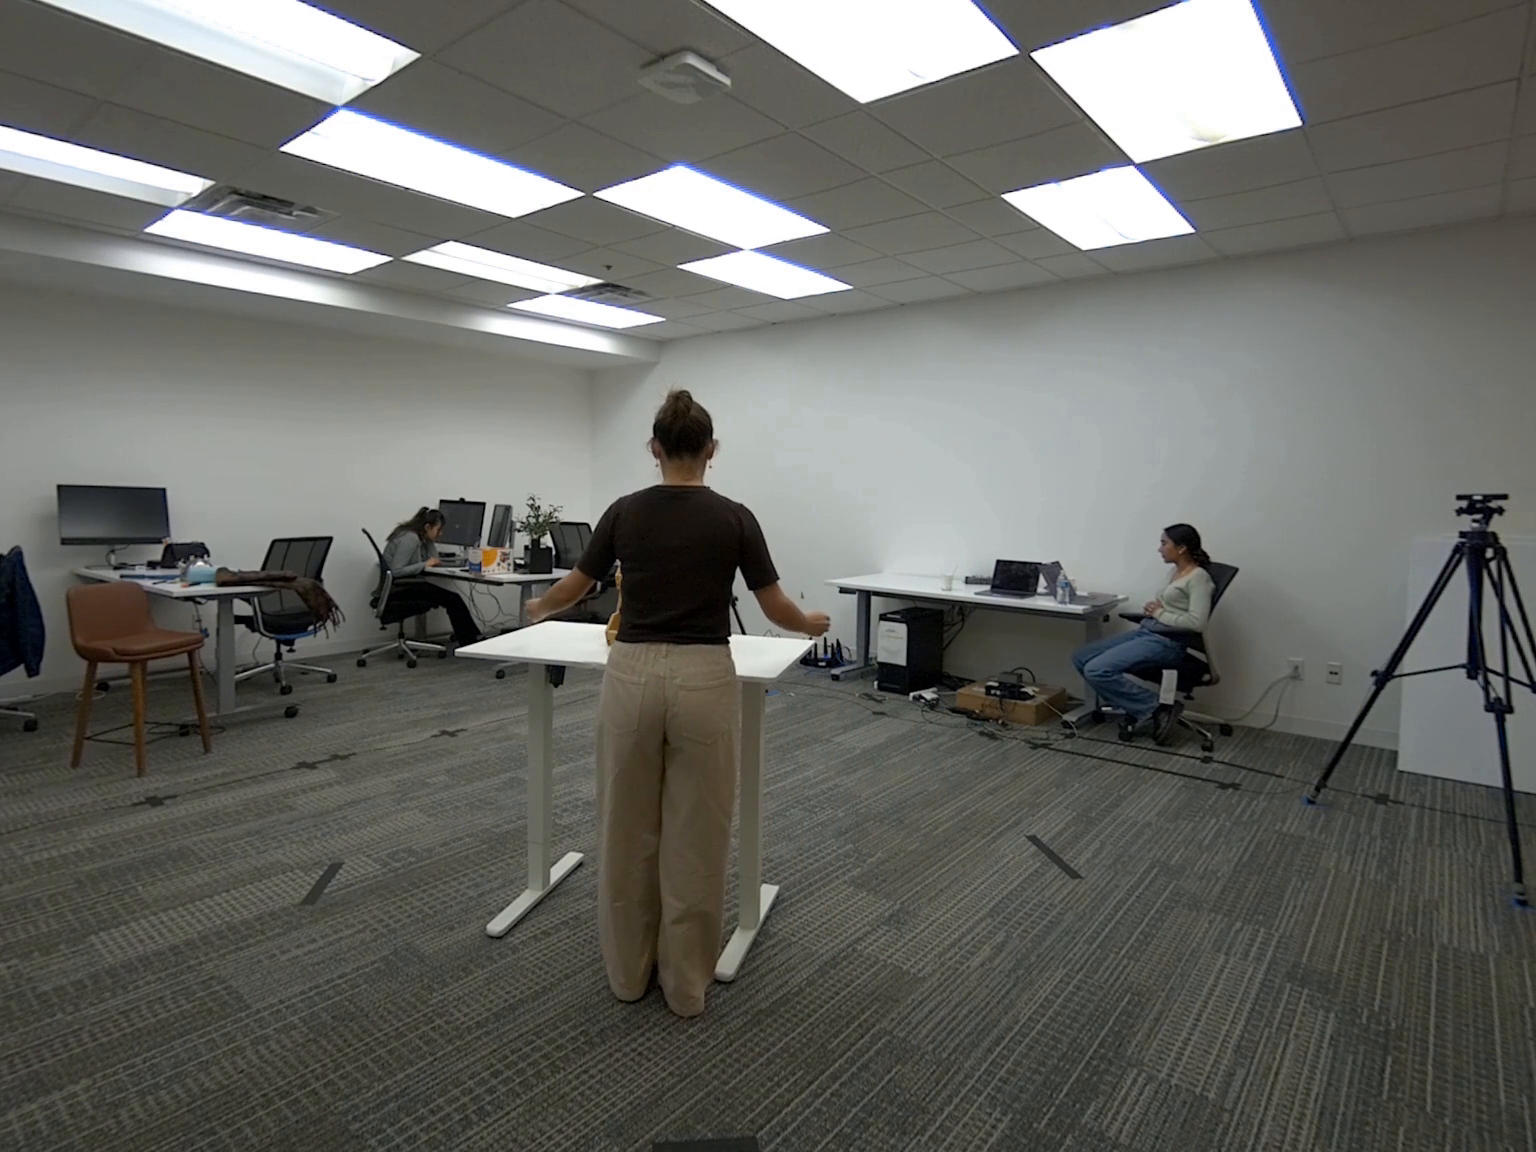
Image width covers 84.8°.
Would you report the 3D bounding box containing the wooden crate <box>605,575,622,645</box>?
[{"bbox_3d":[-0.347,0.081,2.786,0.328,0.272,0.299,2,4,10],"label":"wooden crate"}]
